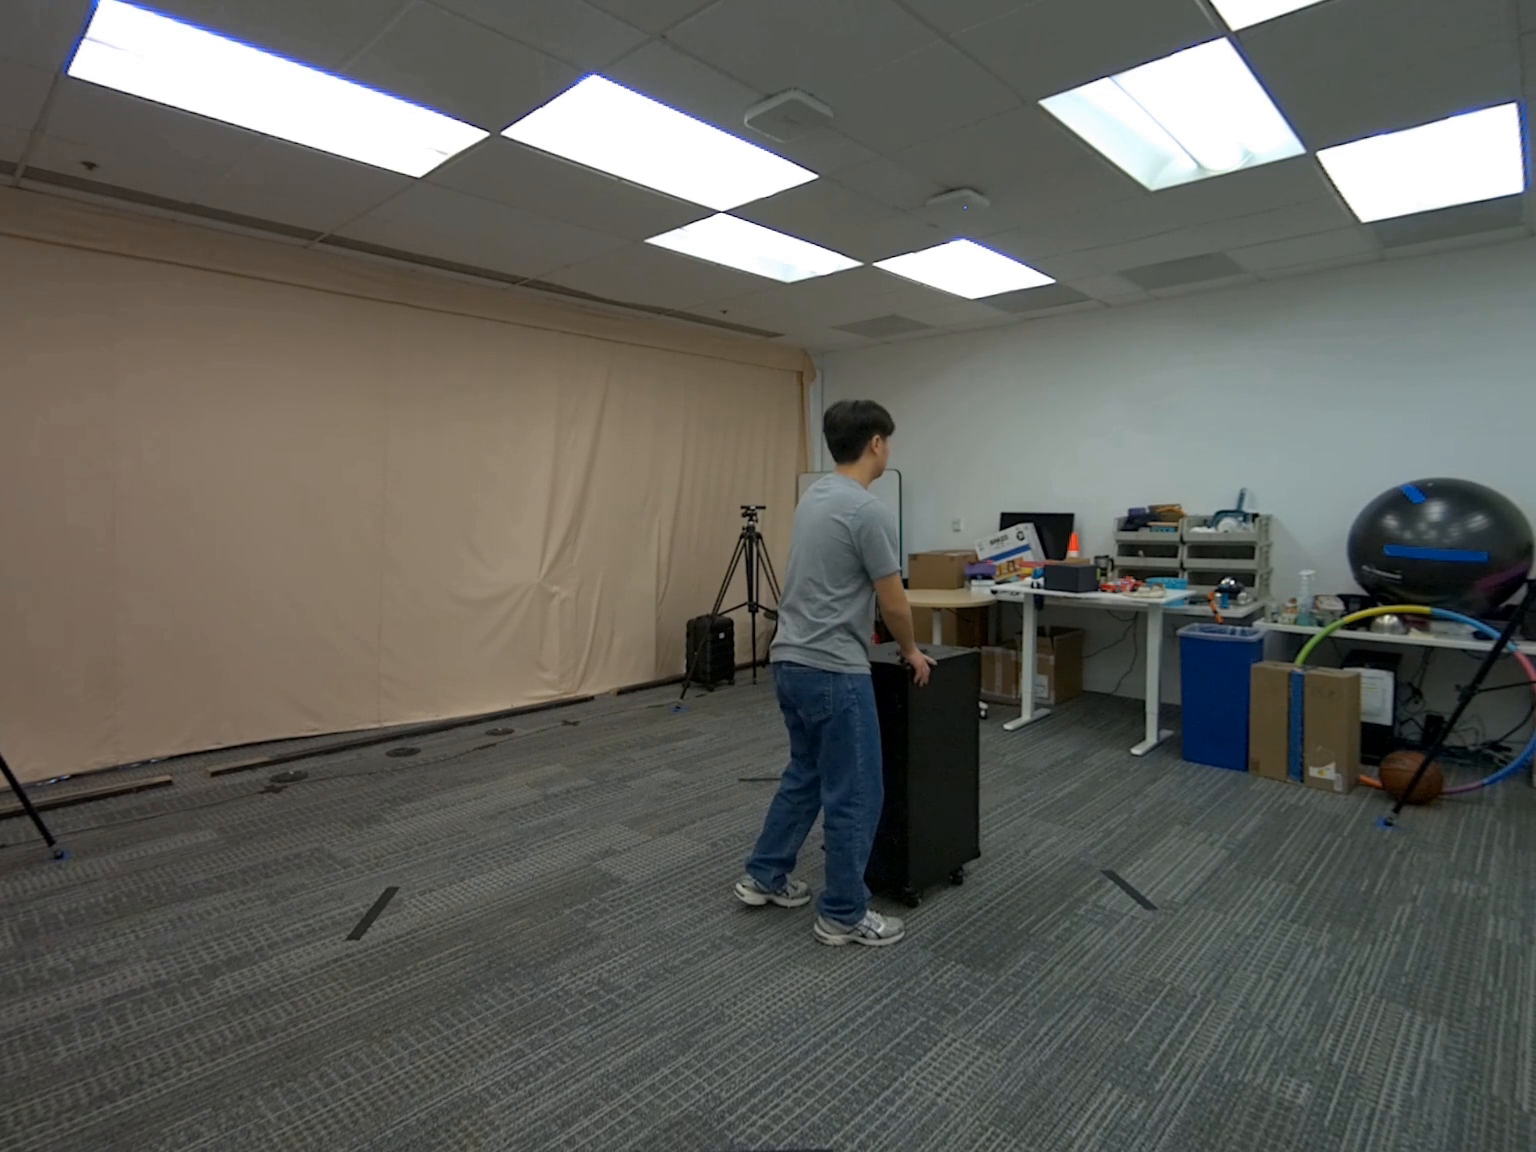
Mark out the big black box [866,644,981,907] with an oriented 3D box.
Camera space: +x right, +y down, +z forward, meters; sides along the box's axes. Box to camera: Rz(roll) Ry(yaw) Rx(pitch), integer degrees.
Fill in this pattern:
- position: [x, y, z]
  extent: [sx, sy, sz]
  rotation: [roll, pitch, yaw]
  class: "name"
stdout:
- position: [0.498, 0.711, 3.119]
  extent: [0.409, 0.860, 0.505]
  rotation: [1, 3, 44]
  class: "big black box"
